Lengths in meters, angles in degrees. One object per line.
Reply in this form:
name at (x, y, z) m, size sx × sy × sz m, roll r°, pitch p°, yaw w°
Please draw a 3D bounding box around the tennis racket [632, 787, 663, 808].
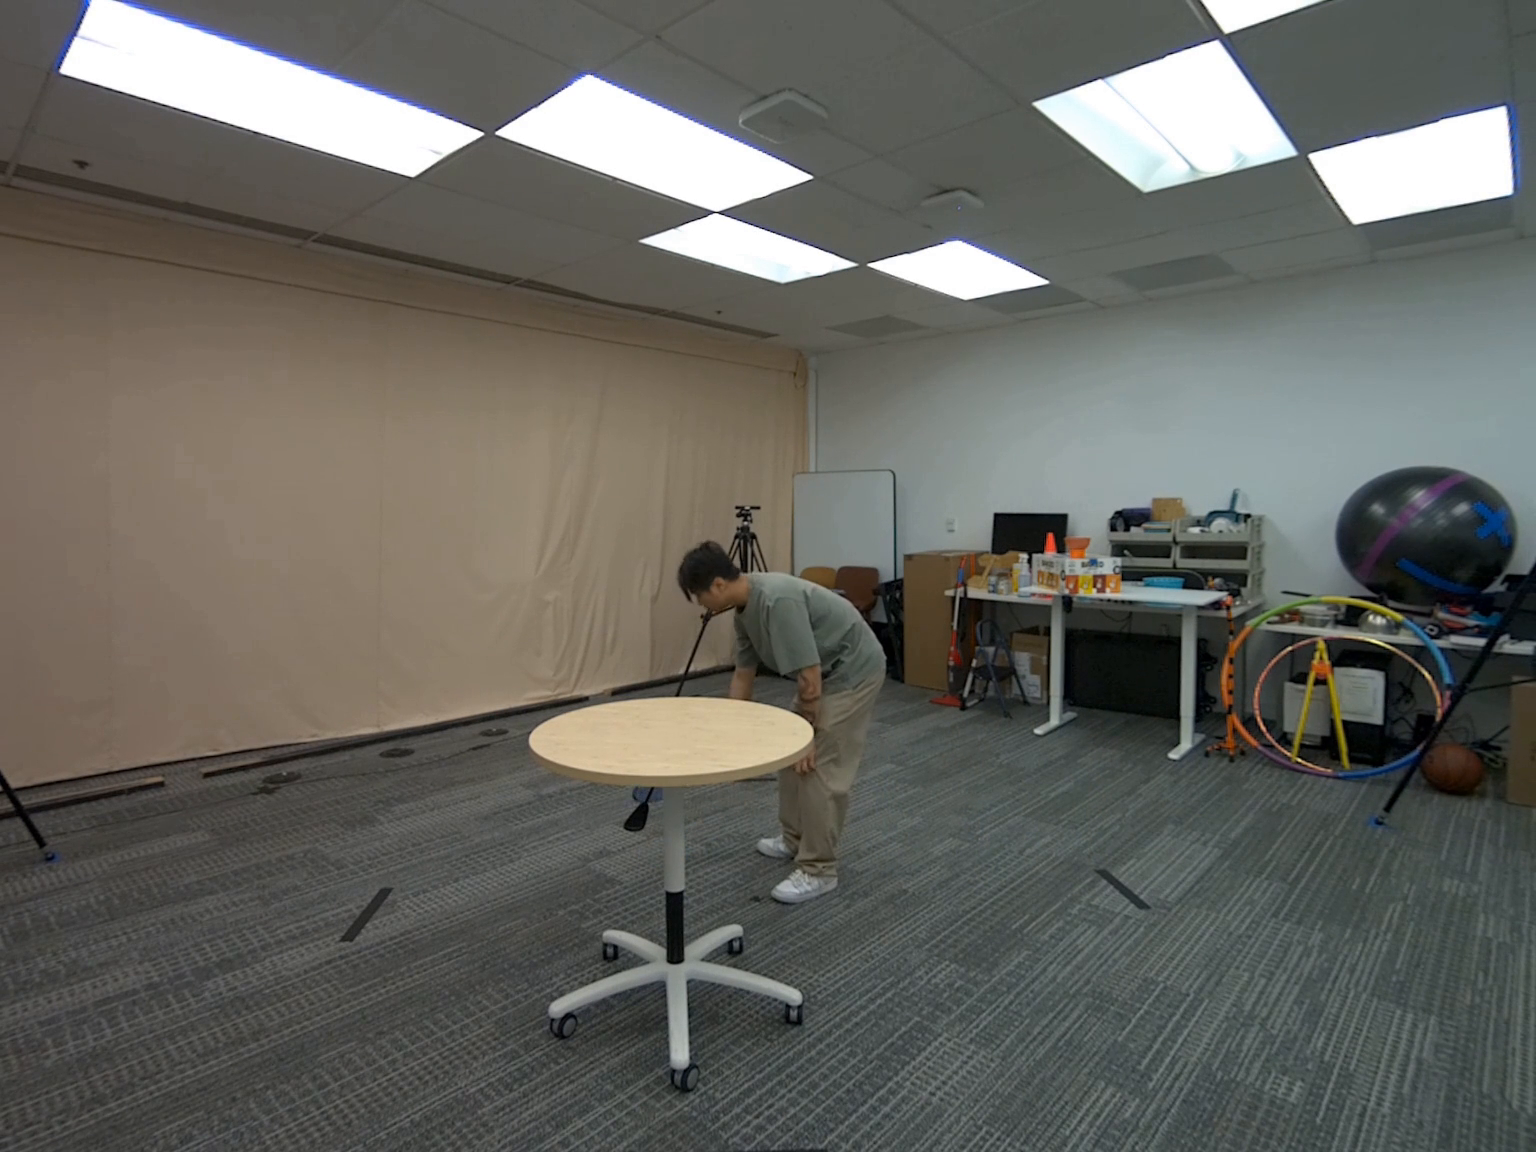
tennis racket at (-0.333, 0.791, 3.337) m, size 0.430 × 0.208 × 0.033 m, roll -22°, pitch 51°, yaw -8°
